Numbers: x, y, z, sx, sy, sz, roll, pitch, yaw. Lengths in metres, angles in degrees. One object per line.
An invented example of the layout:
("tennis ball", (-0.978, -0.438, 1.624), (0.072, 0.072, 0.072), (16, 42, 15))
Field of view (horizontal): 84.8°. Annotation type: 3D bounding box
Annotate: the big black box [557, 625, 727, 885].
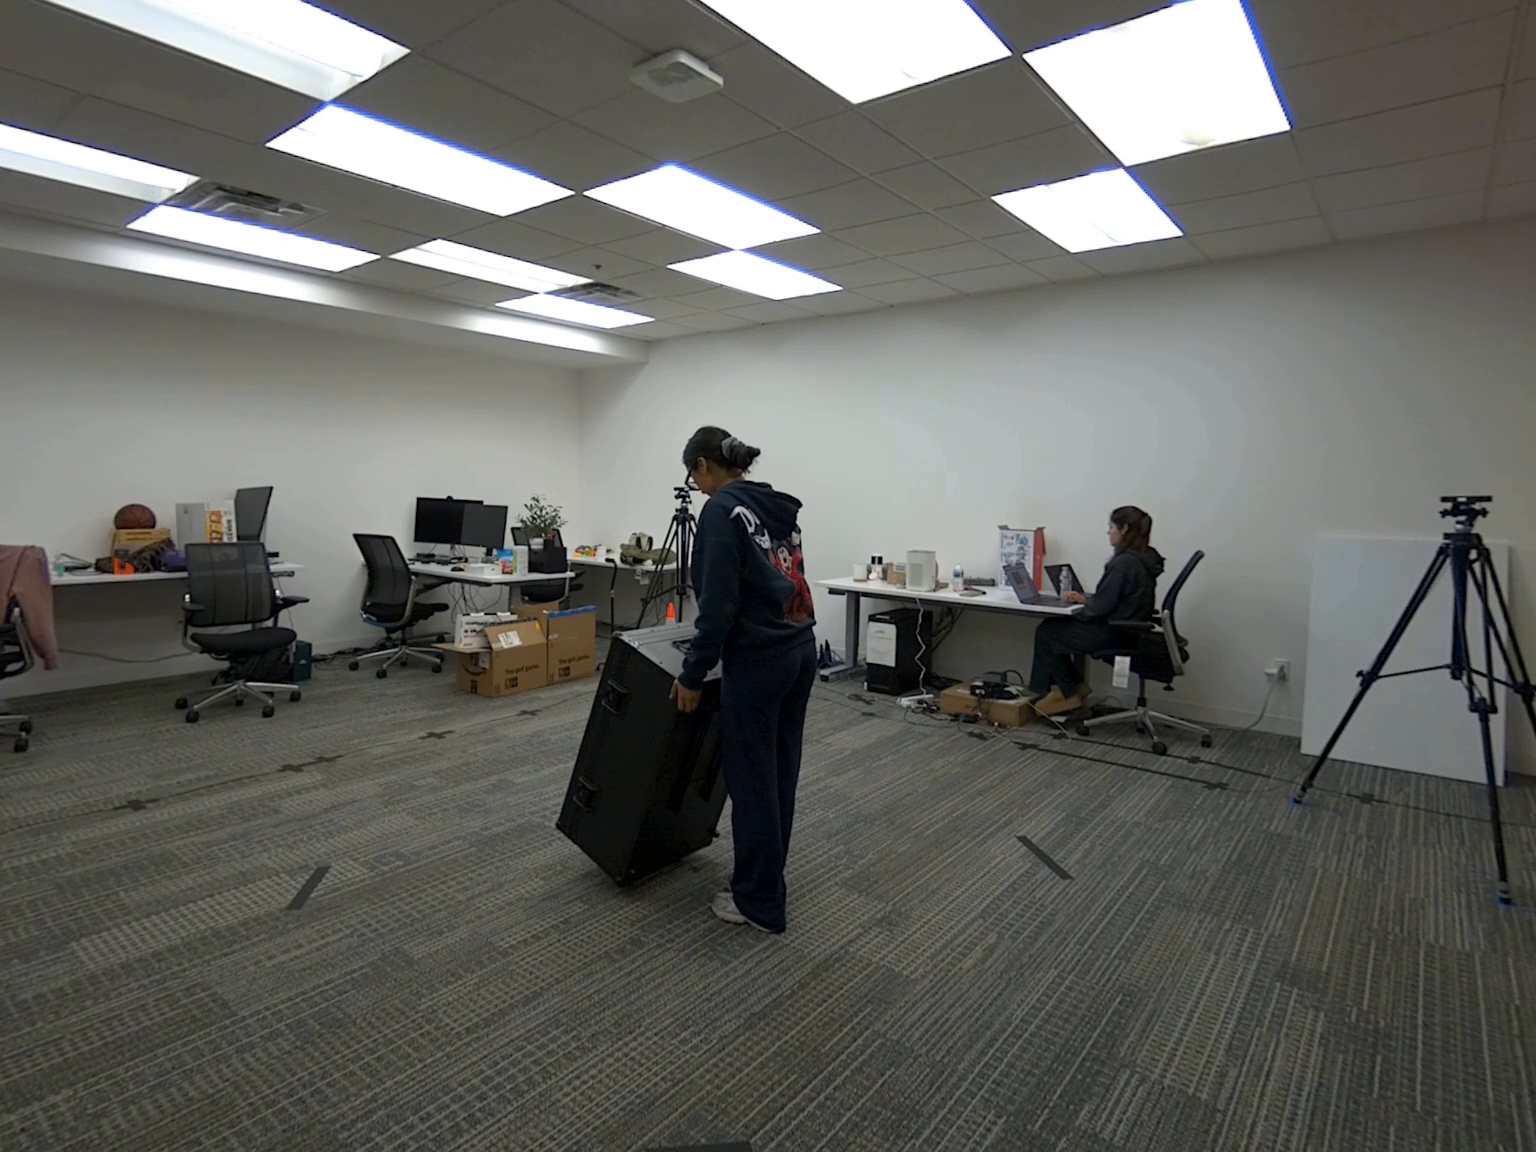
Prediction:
("big black box", (-0.382, 0.638, 3.037), (0.411, 0.854, 0.506), (29, 18, 31))
